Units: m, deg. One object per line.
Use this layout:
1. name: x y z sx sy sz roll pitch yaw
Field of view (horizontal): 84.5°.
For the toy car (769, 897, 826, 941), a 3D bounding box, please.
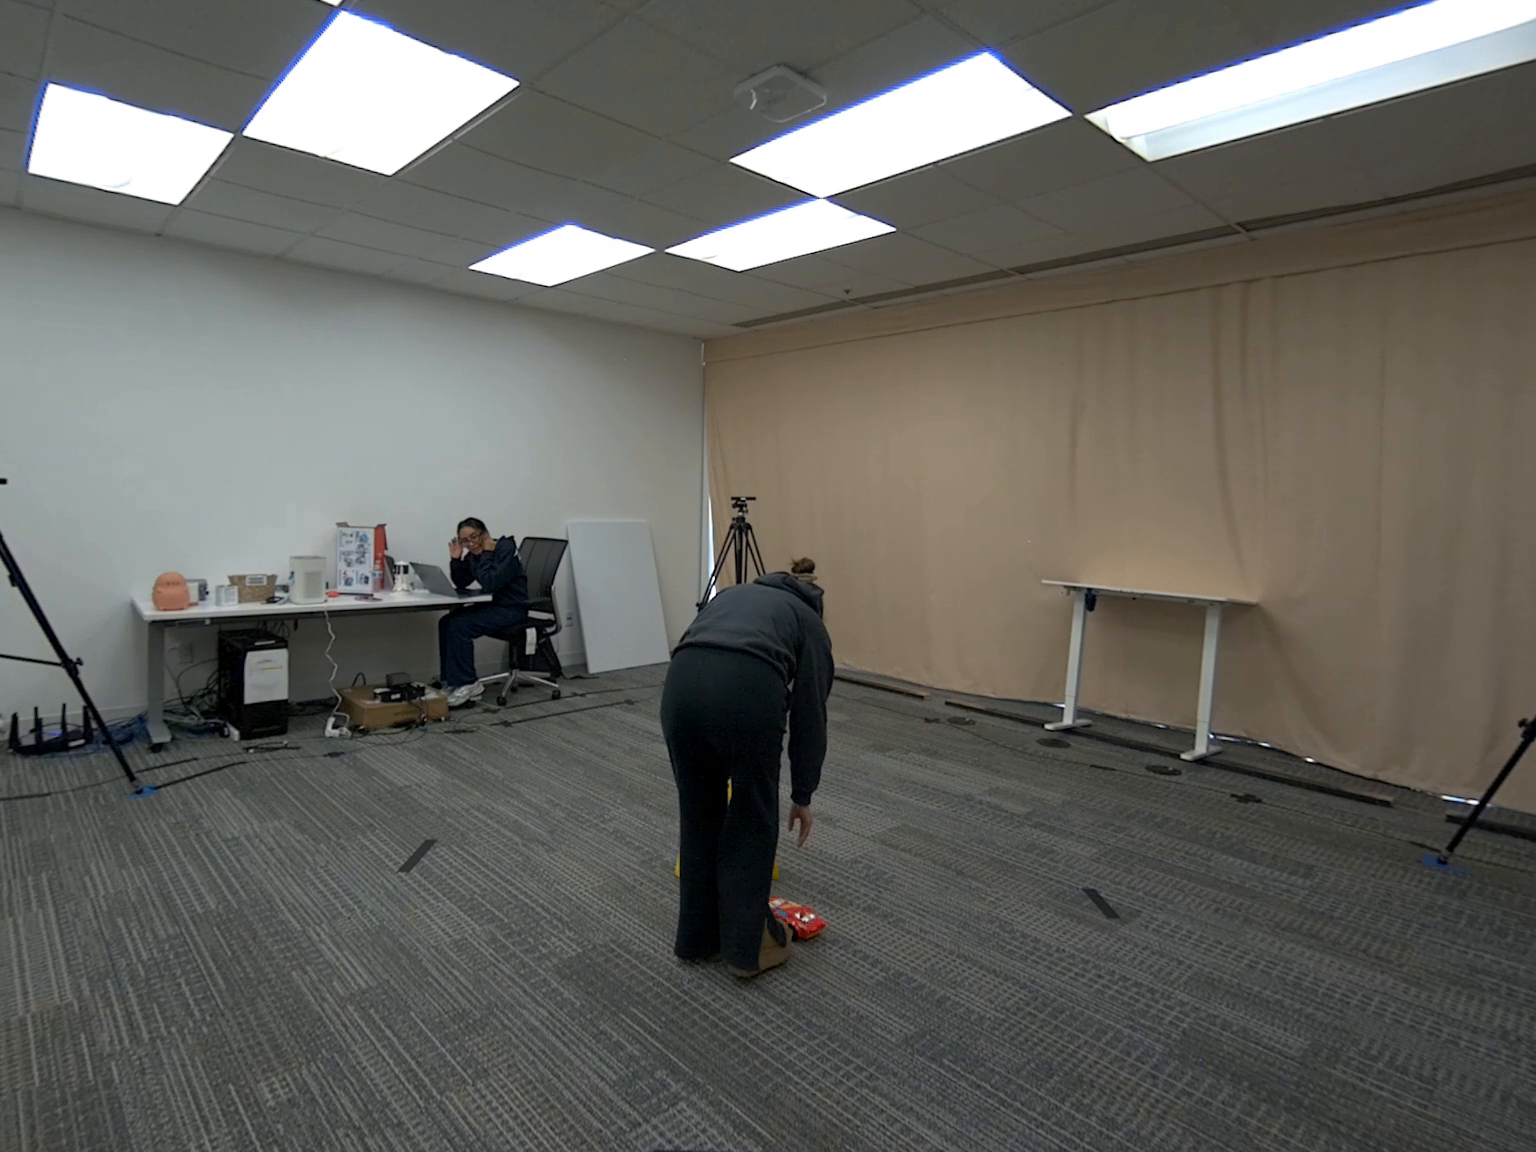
1. toy car: 0.074 1.113 2.742 0.127 0.083 0.259 -4 -3 -43
